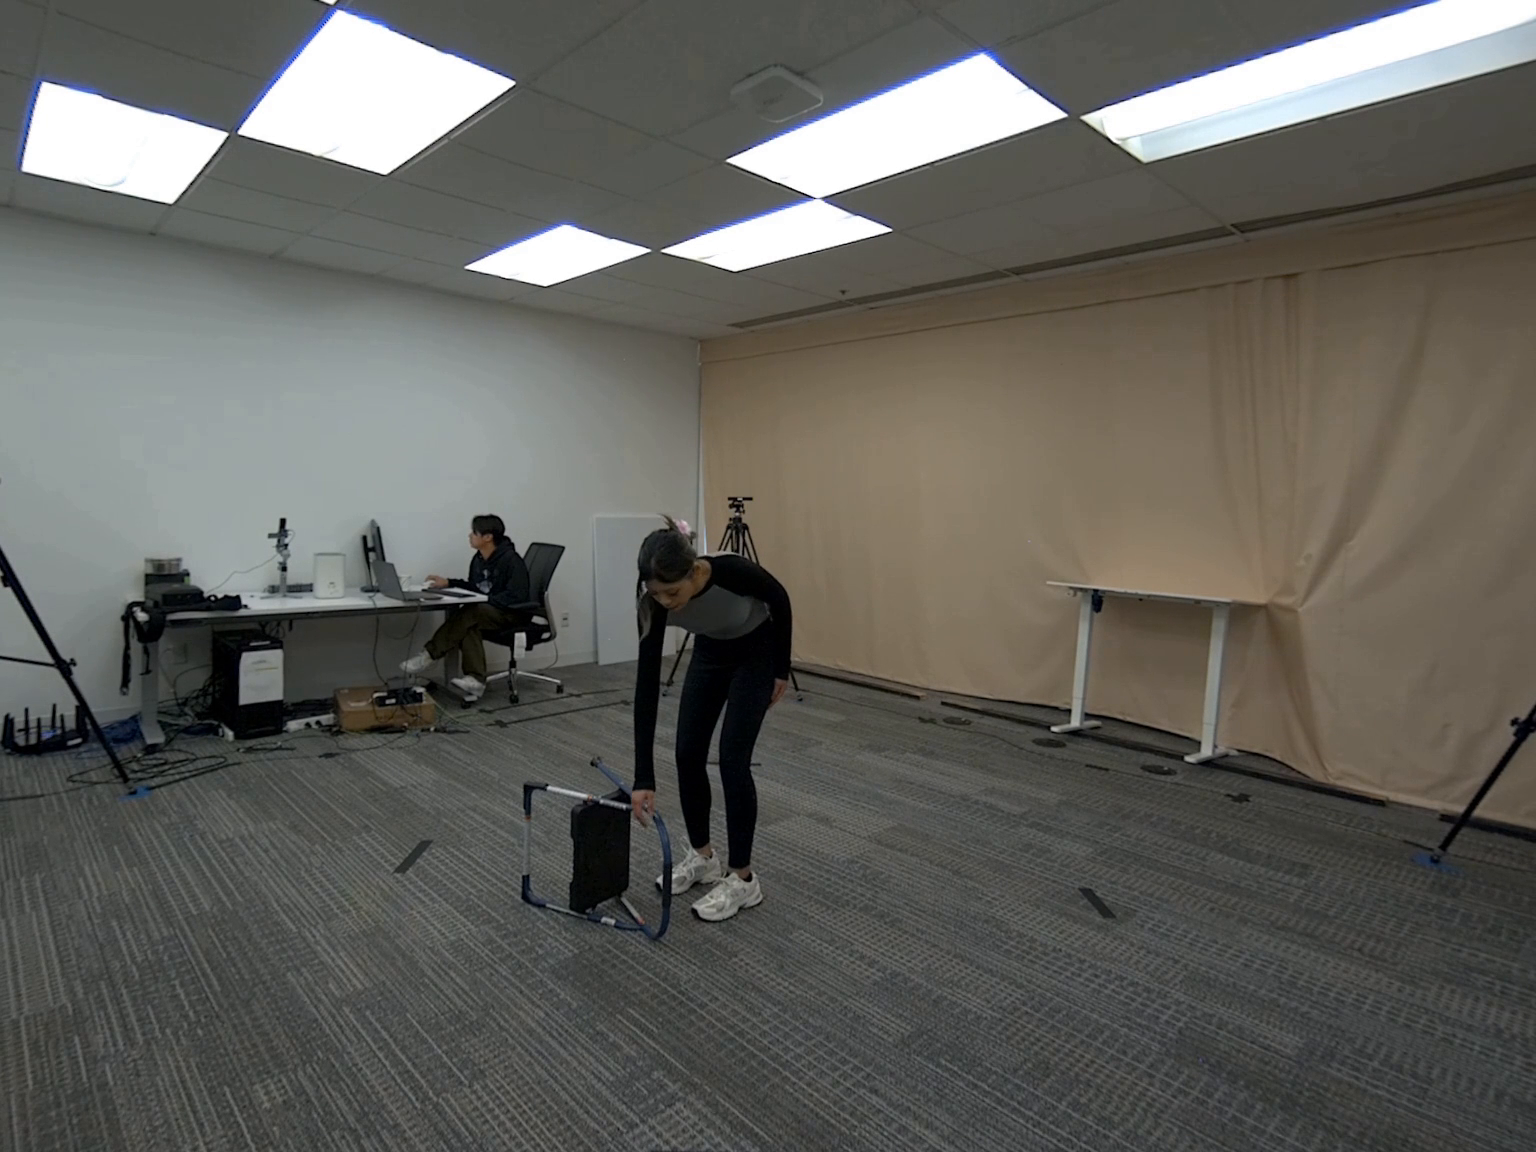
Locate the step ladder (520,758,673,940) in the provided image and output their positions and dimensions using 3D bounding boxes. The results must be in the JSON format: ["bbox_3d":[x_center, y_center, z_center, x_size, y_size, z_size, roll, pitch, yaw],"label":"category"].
[{"bbox_3d":[-0.506,0.919,2.796,0.621,0.429,0.342,6,7,39],"label":"step ladder"}]
